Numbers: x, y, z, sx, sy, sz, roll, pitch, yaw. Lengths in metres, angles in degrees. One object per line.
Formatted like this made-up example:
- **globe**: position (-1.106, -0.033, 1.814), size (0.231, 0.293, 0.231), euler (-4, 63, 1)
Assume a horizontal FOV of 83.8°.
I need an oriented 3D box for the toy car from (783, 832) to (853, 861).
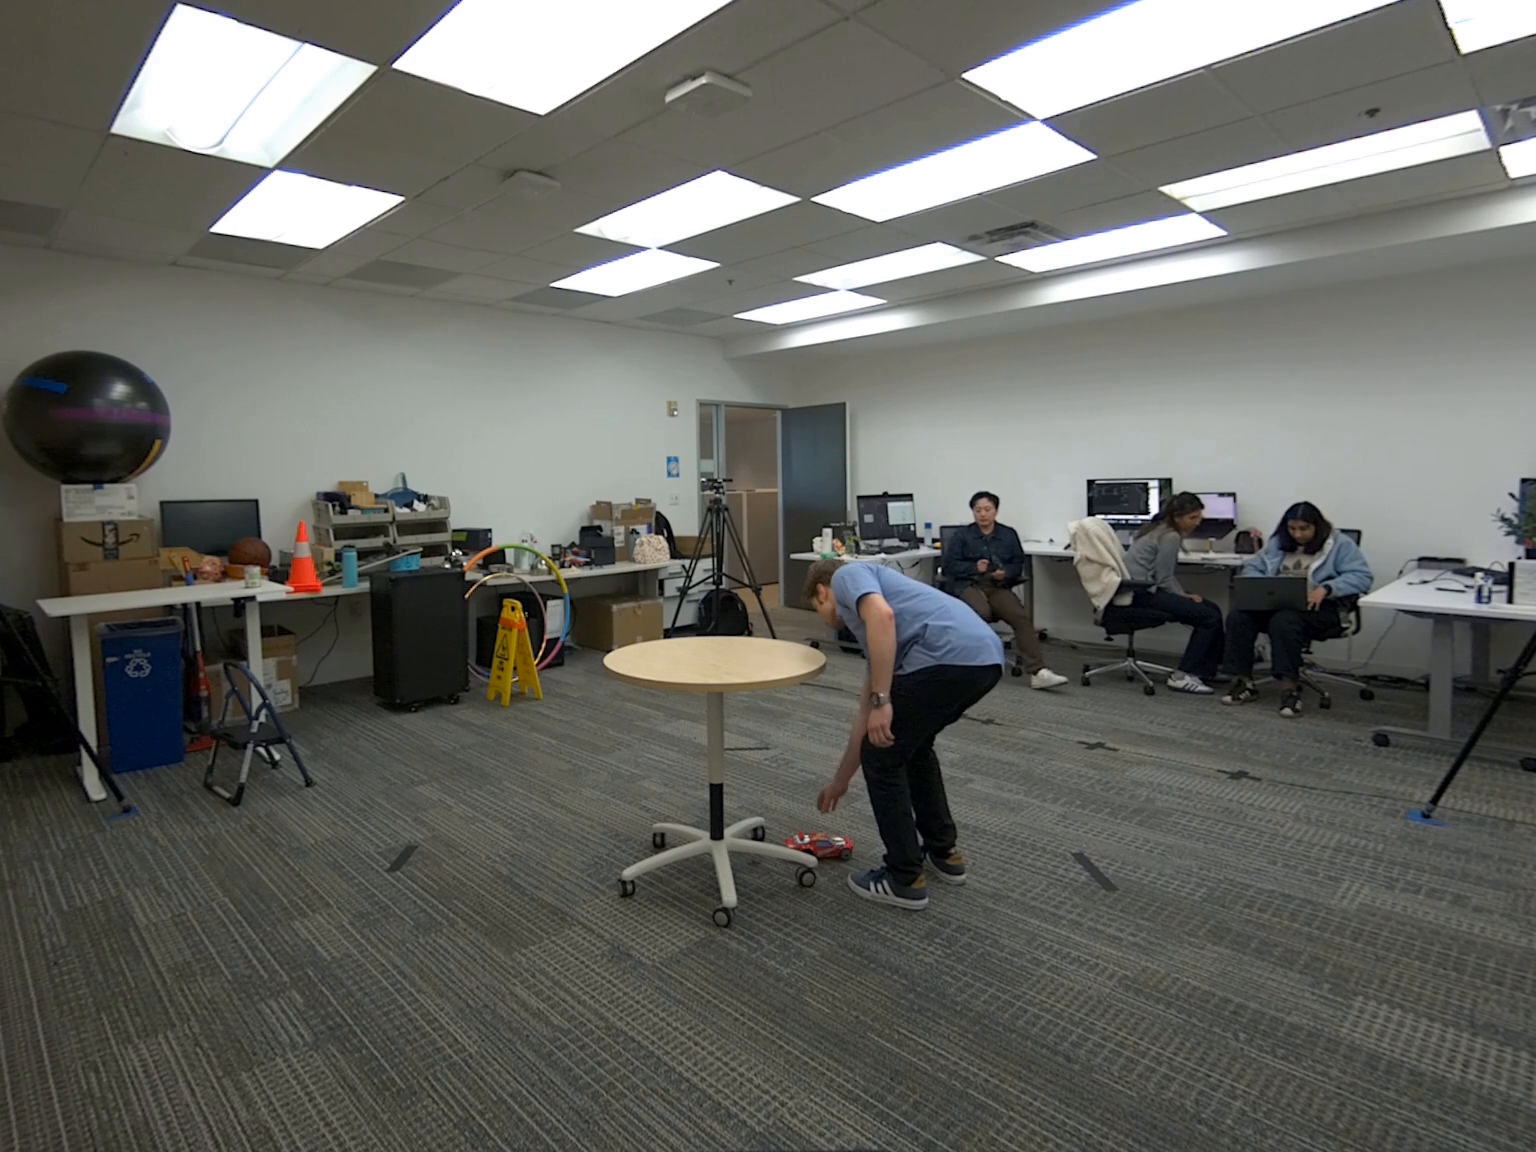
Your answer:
- **toy car**: position (0.189, 1.004, 3.160), size (0.253, 0.083, 0.131), euler (9, 4, -6)
